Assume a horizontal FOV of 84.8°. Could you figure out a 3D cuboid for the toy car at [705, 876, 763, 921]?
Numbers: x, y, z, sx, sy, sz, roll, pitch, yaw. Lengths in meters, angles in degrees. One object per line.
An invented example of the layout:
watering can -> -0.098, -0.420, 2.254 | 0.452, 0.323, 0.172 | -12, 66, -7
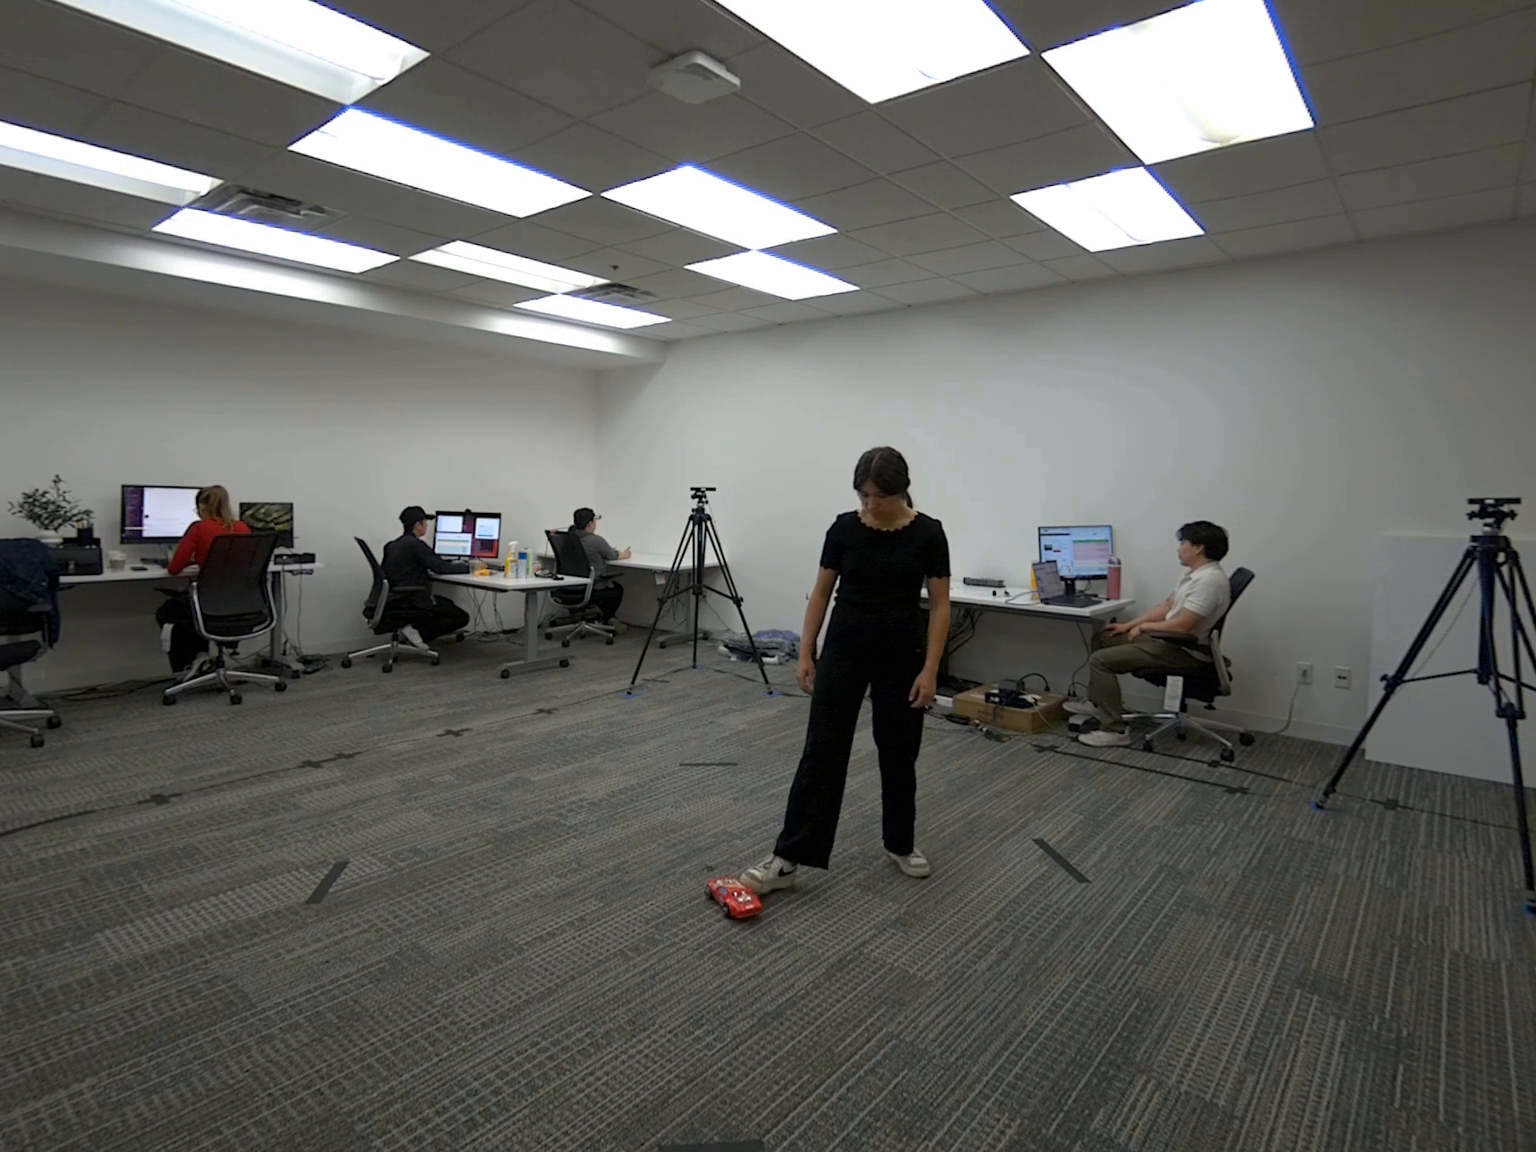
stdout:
toy car -> -0.115, 1.063, 2.817 | 0.127, 0.084, 0.259 | -1, -6, -29
